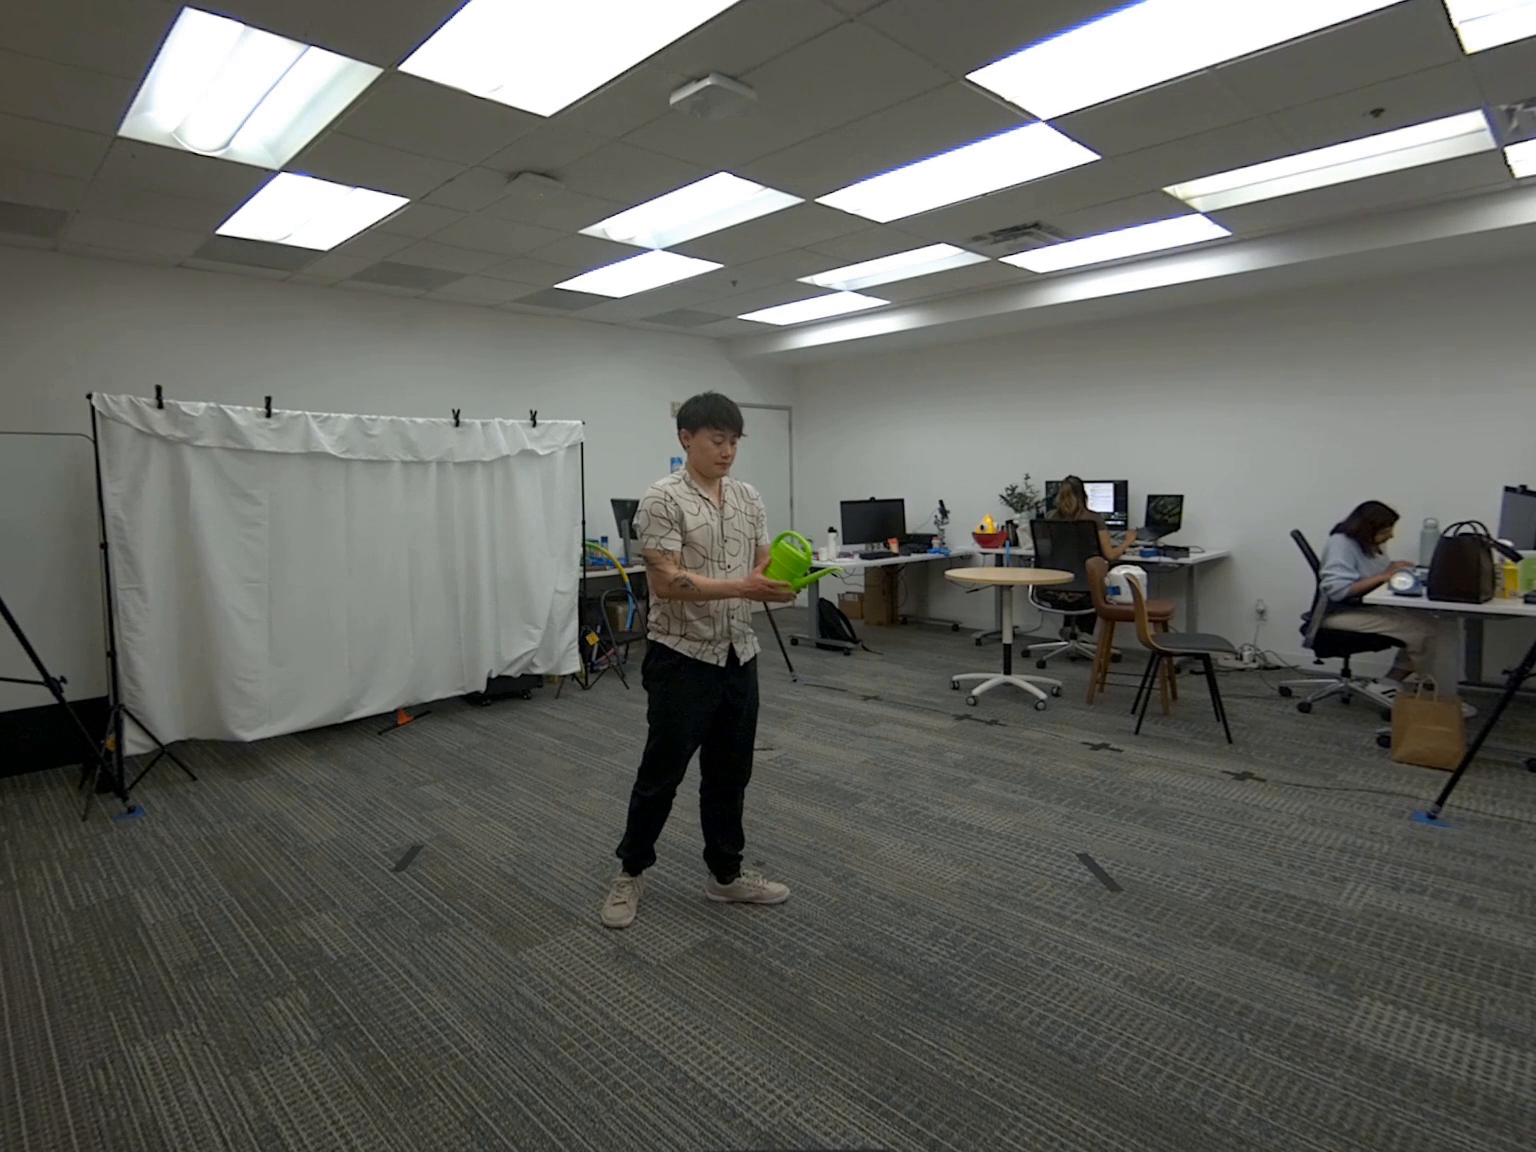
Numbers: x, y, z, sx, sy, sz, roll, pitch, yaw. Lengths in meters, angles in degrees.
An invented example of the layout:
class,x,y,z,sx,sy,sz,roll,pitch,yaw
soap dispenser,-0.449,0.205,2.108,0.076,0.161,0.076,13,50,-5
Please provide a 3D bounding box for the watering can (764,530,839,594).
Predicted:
class,x,y,z,sx,sy,sz,roll,pitch,yaw
watering can,0.076,-0.013,2.507,0.095,0.176,0.289,23,15,-34
